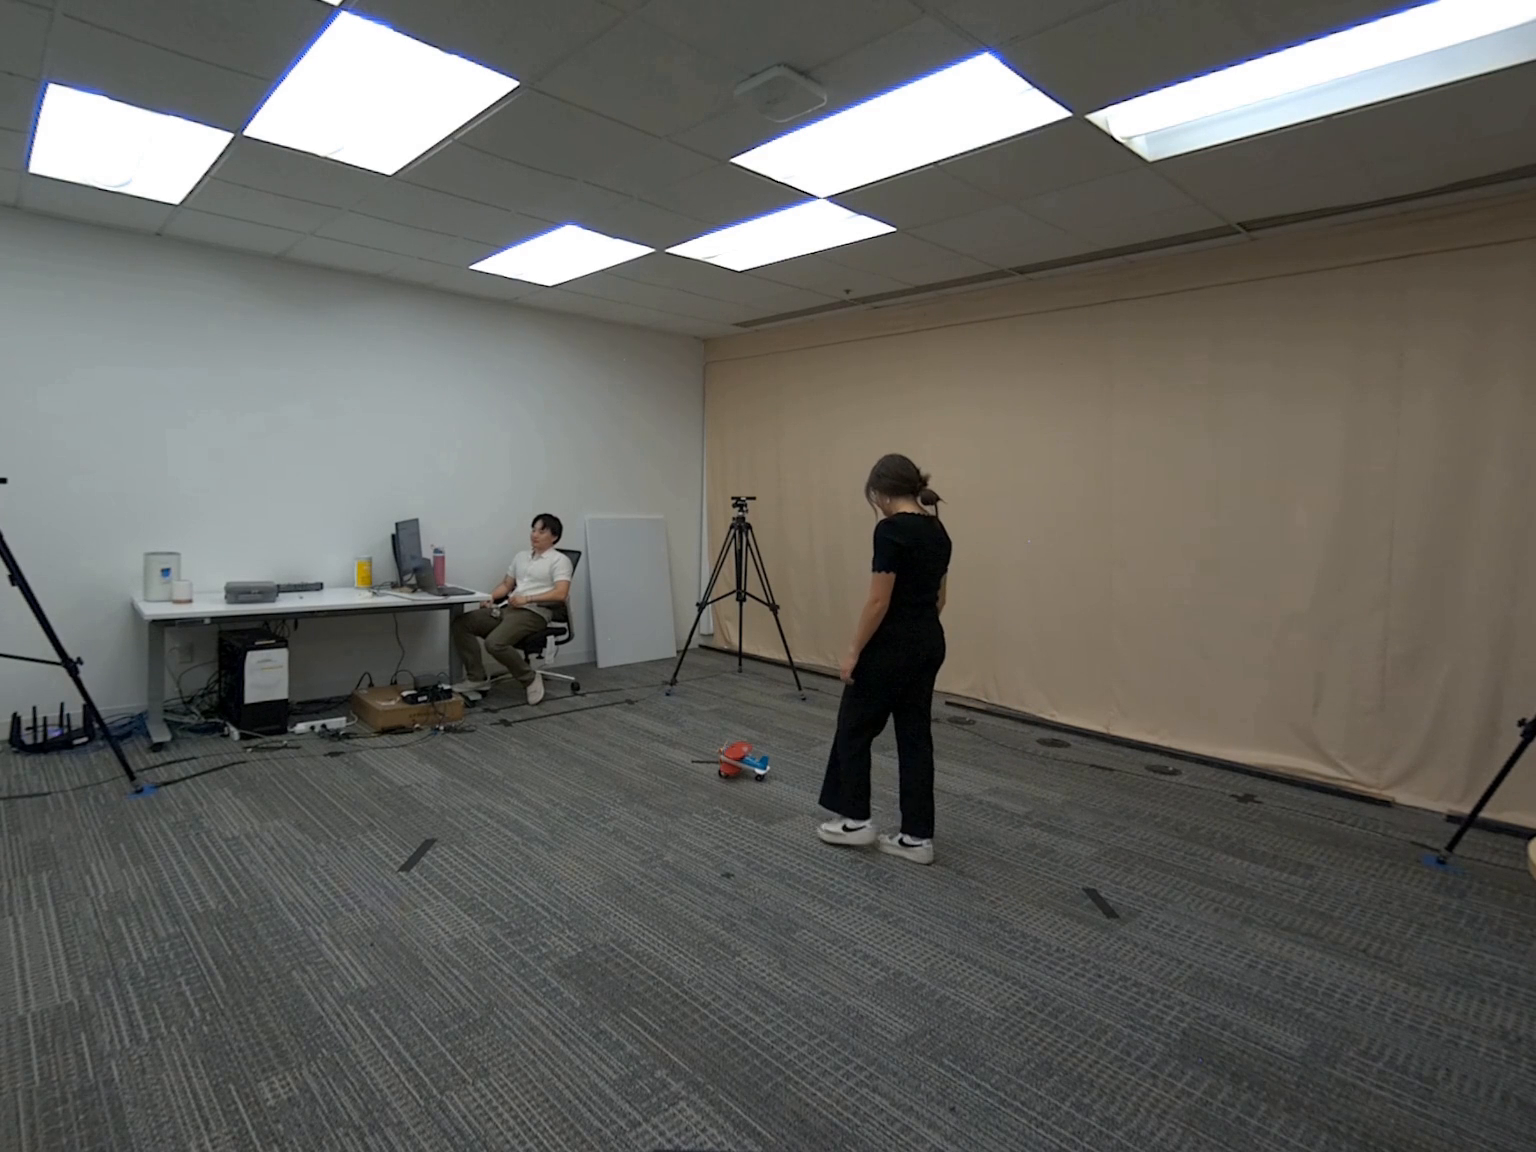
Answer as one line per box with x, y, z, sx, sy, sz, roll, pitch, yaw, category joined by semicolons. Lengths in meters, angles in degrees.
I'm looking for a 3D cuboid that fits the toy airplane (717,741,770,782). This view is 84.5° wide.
-0.135;0.935;4.234;0.258;0.156;0.253;0;4;-7;toy airplane
